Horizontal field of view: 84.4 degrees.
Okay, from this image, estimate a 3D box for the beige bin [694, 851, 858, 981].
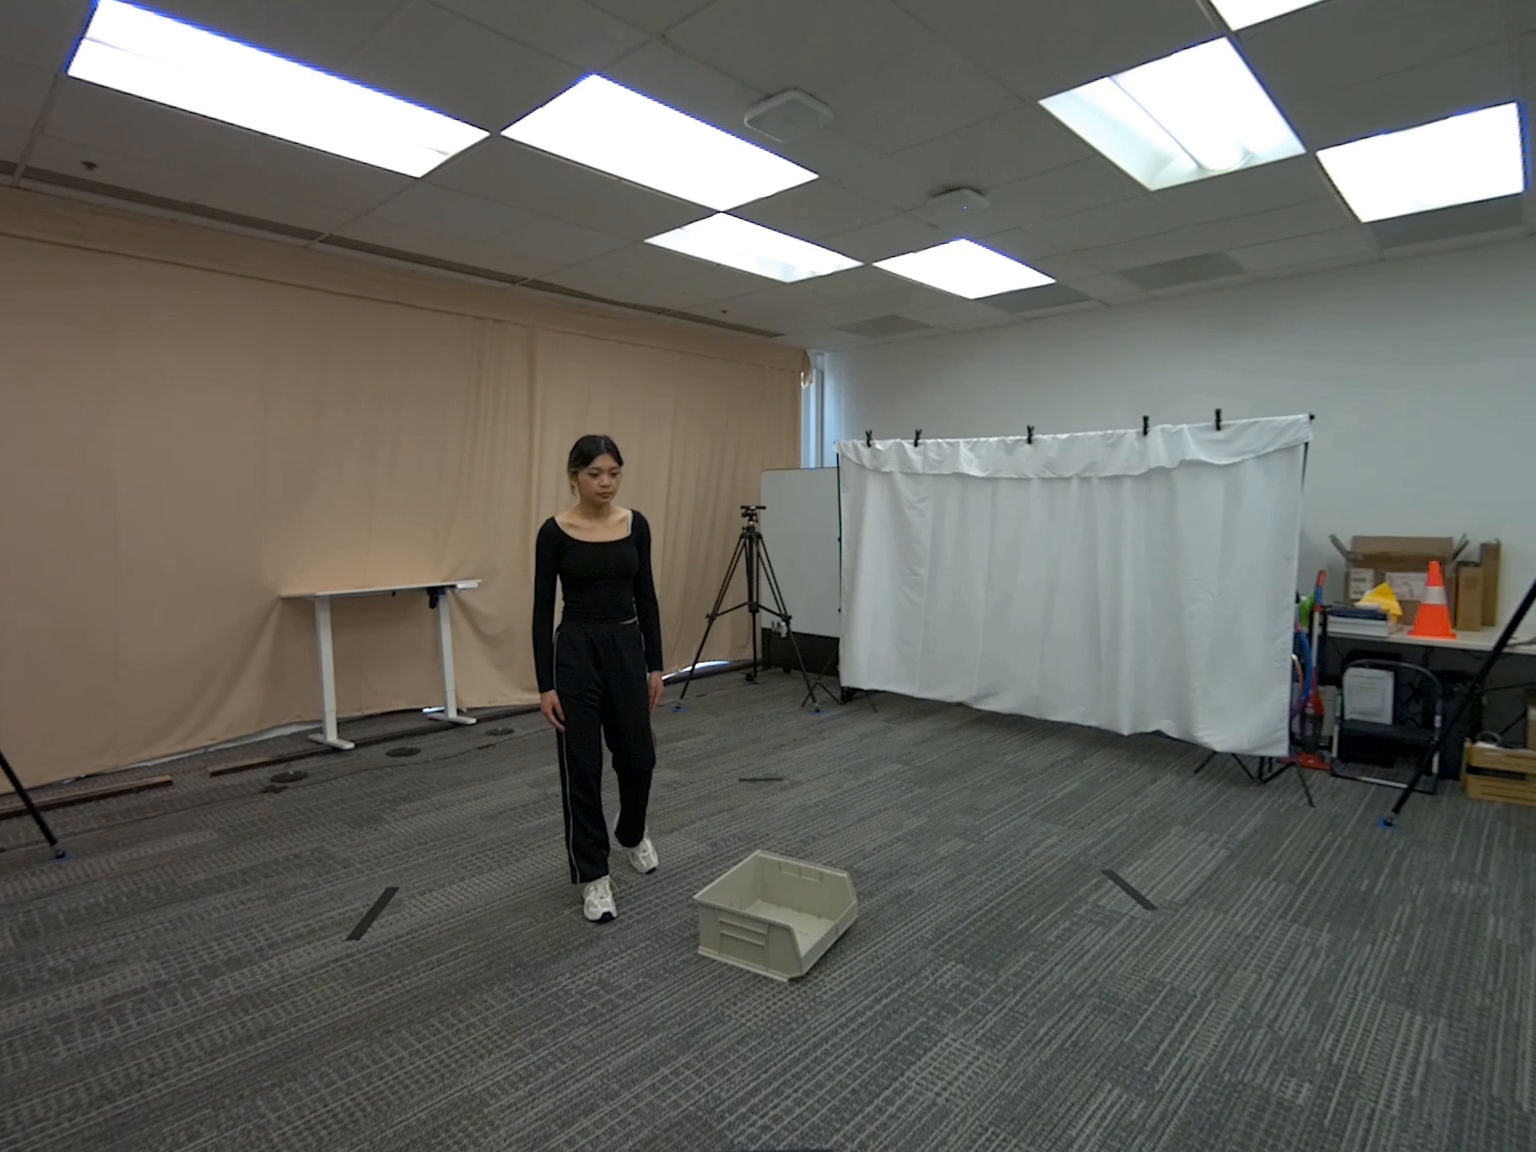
[{"bbox_3d":[0.035,1.083,2.693,0.388,0.188,0.411,1,5,30],"label":"beige bin"}]
